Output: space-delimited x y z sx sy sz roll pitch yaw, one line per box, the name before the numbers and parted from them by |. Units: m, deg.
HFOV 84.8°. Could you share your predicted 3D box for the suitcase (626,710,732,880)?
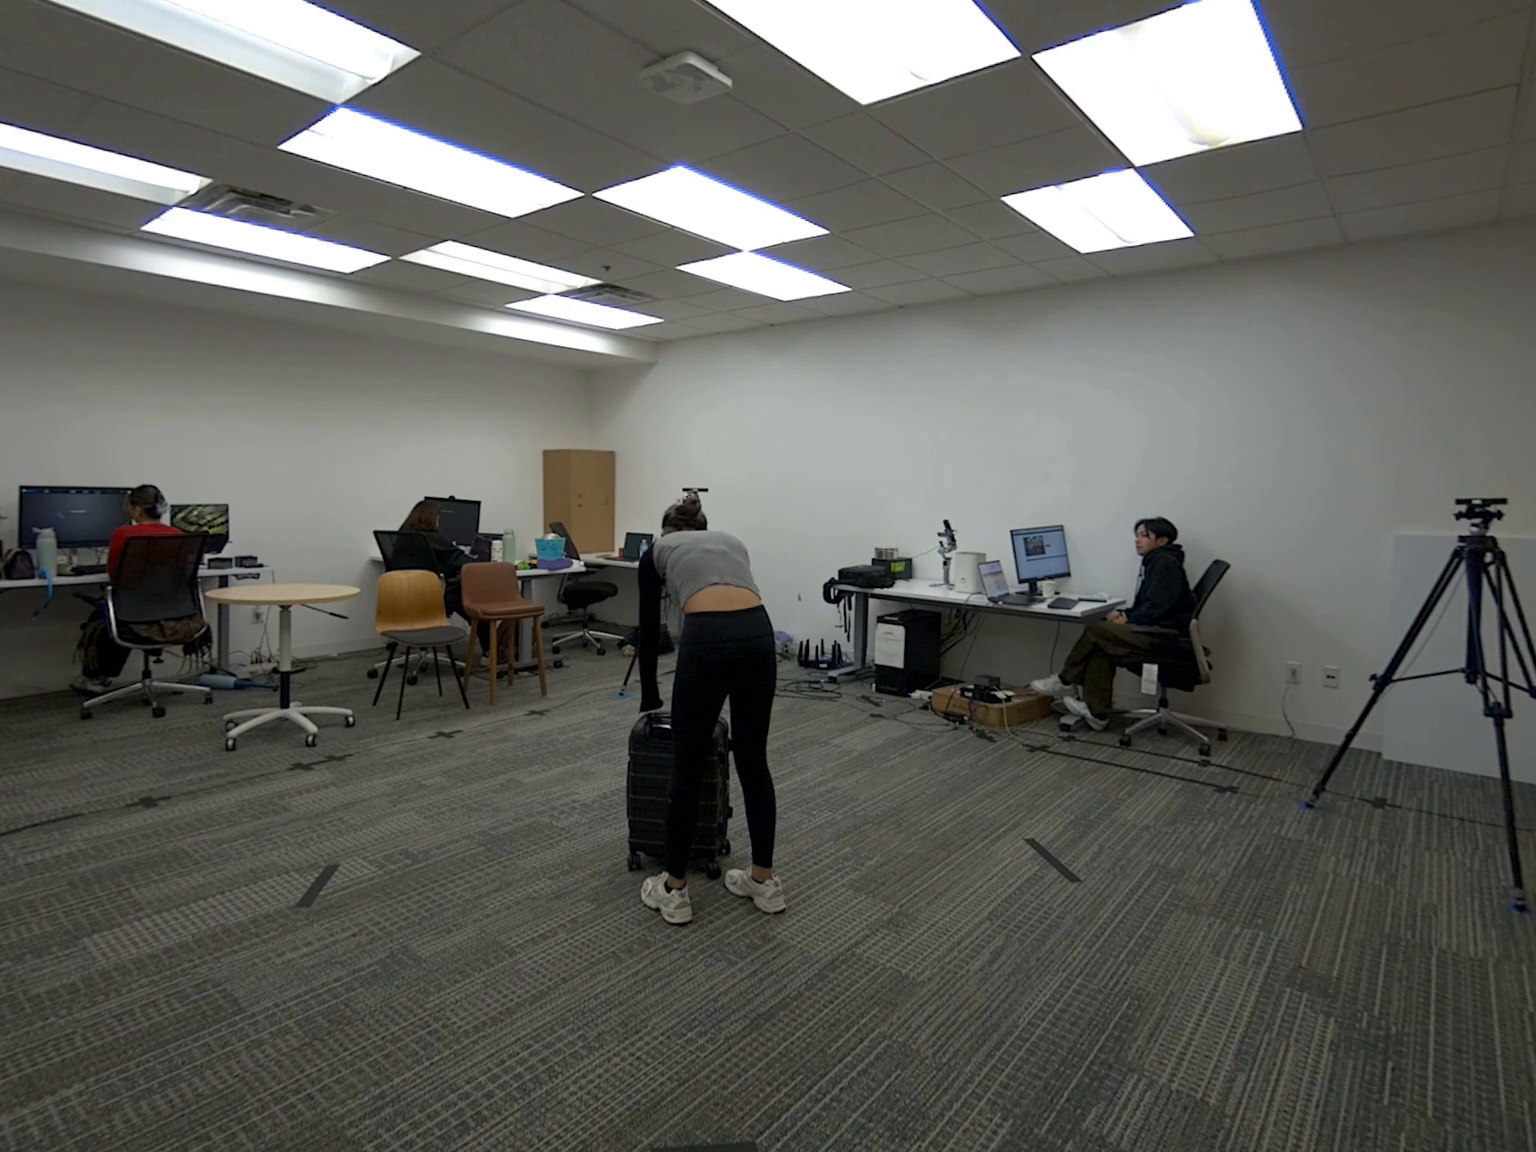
suitcase | -0.344 0.784 3.186 0.380 0.548 0.245 1 2 12
